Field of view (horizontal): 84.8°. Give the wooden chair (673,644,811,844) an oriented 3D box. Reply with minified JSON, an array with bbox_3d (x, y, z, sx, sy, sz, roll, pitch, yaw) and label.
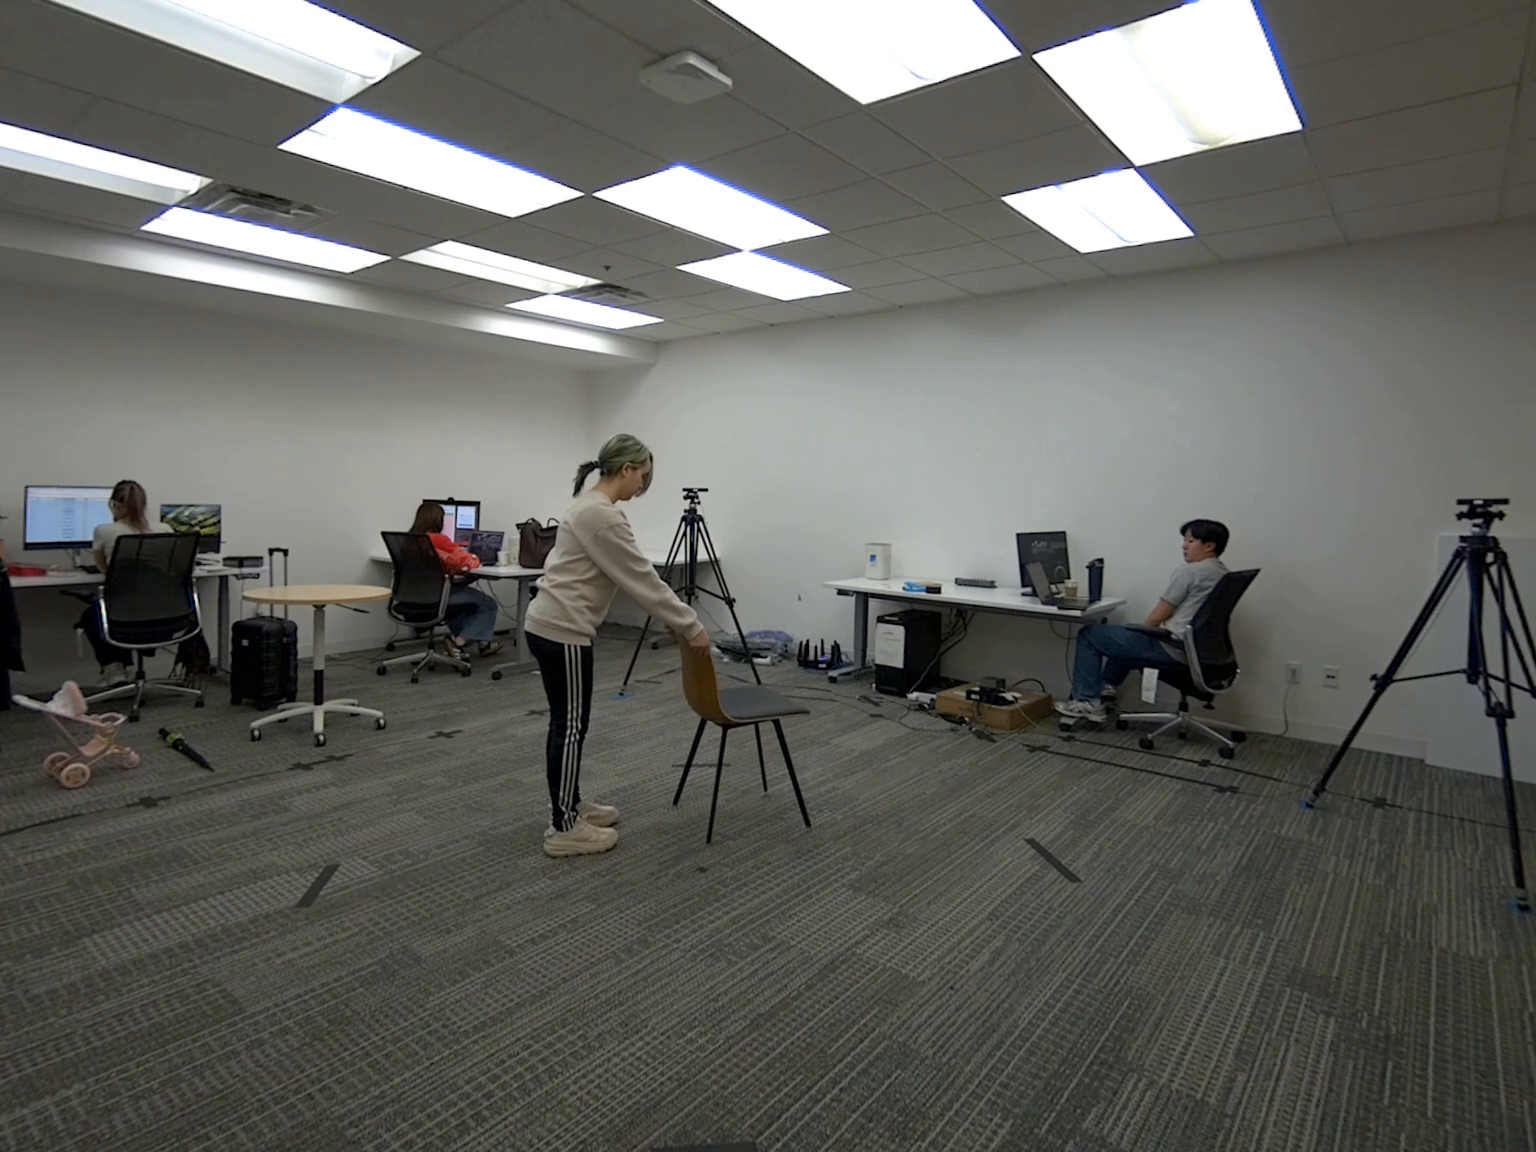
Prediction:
[{"bbox_3d":[-0.126,0.595,3.584,0.513,0.873,0.490,-6,5,-22],"label":"wooden chair"}]
